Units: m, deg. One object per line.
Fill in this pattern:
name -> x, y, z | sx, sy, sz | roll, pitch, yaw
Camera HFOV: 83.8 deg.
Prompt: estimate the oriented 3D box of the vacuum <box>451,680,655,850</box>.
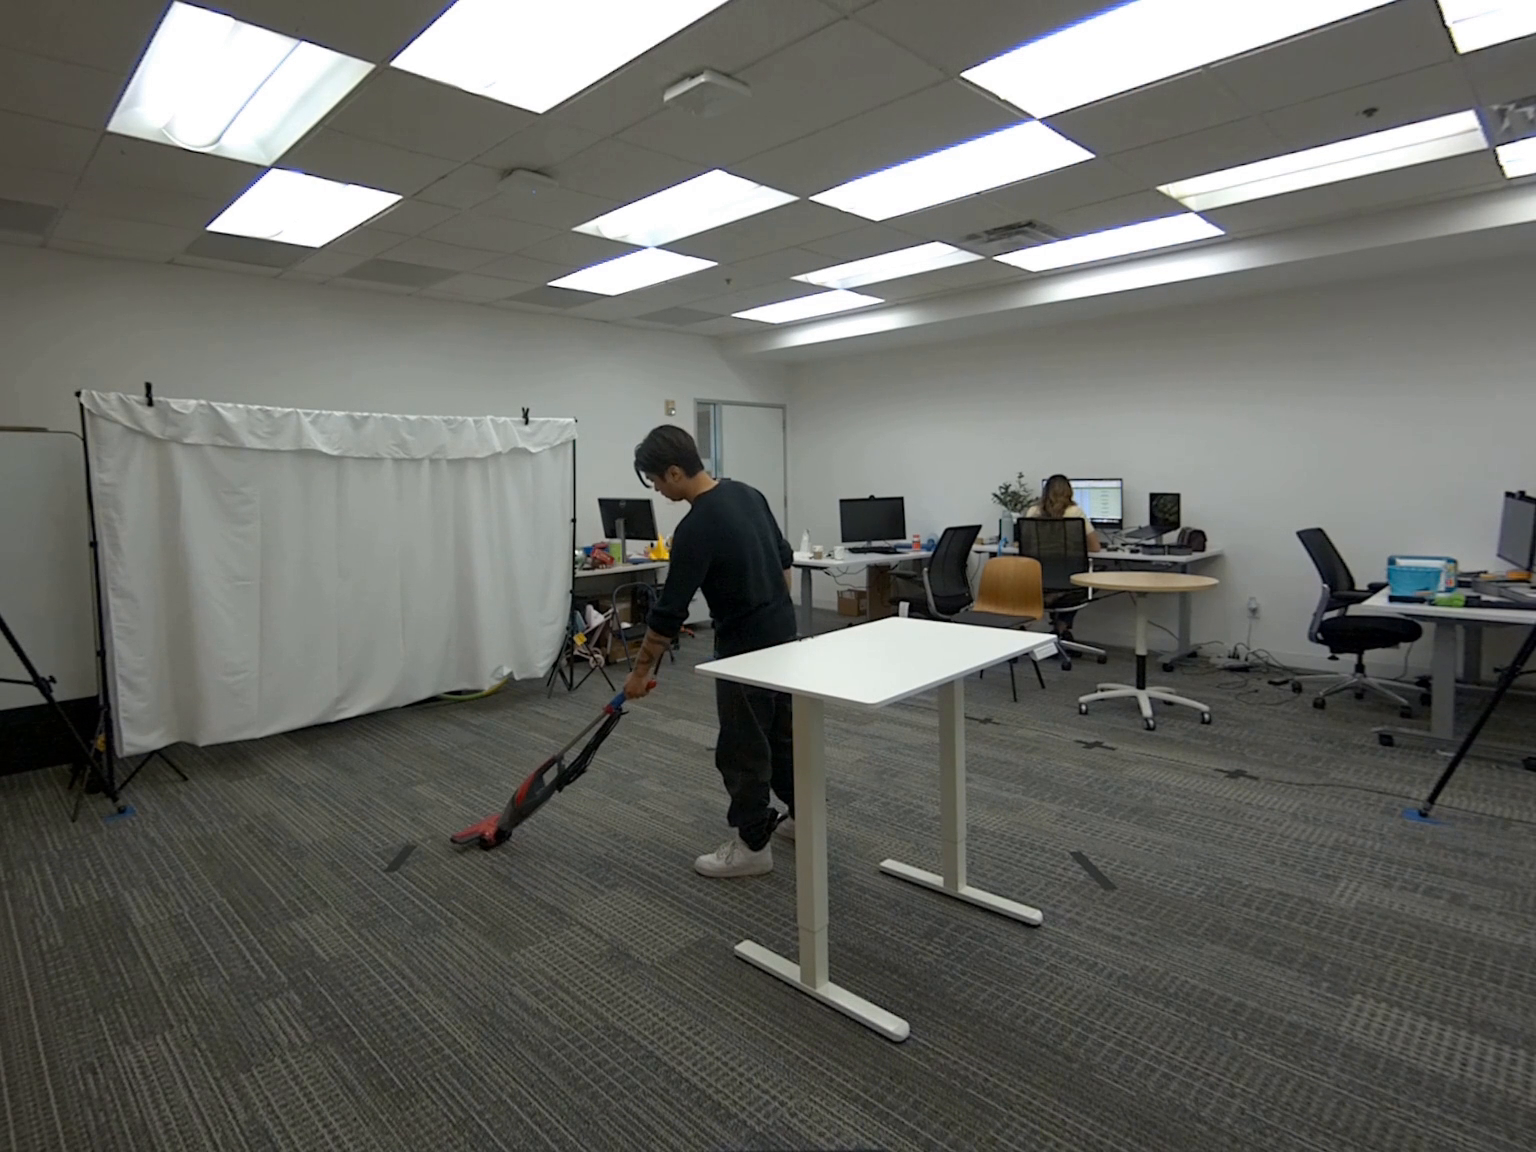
vacuum -> -0.743, 0.696, 3.117 | 1.051, 0.146, 0.248 | -42, -10, 24
